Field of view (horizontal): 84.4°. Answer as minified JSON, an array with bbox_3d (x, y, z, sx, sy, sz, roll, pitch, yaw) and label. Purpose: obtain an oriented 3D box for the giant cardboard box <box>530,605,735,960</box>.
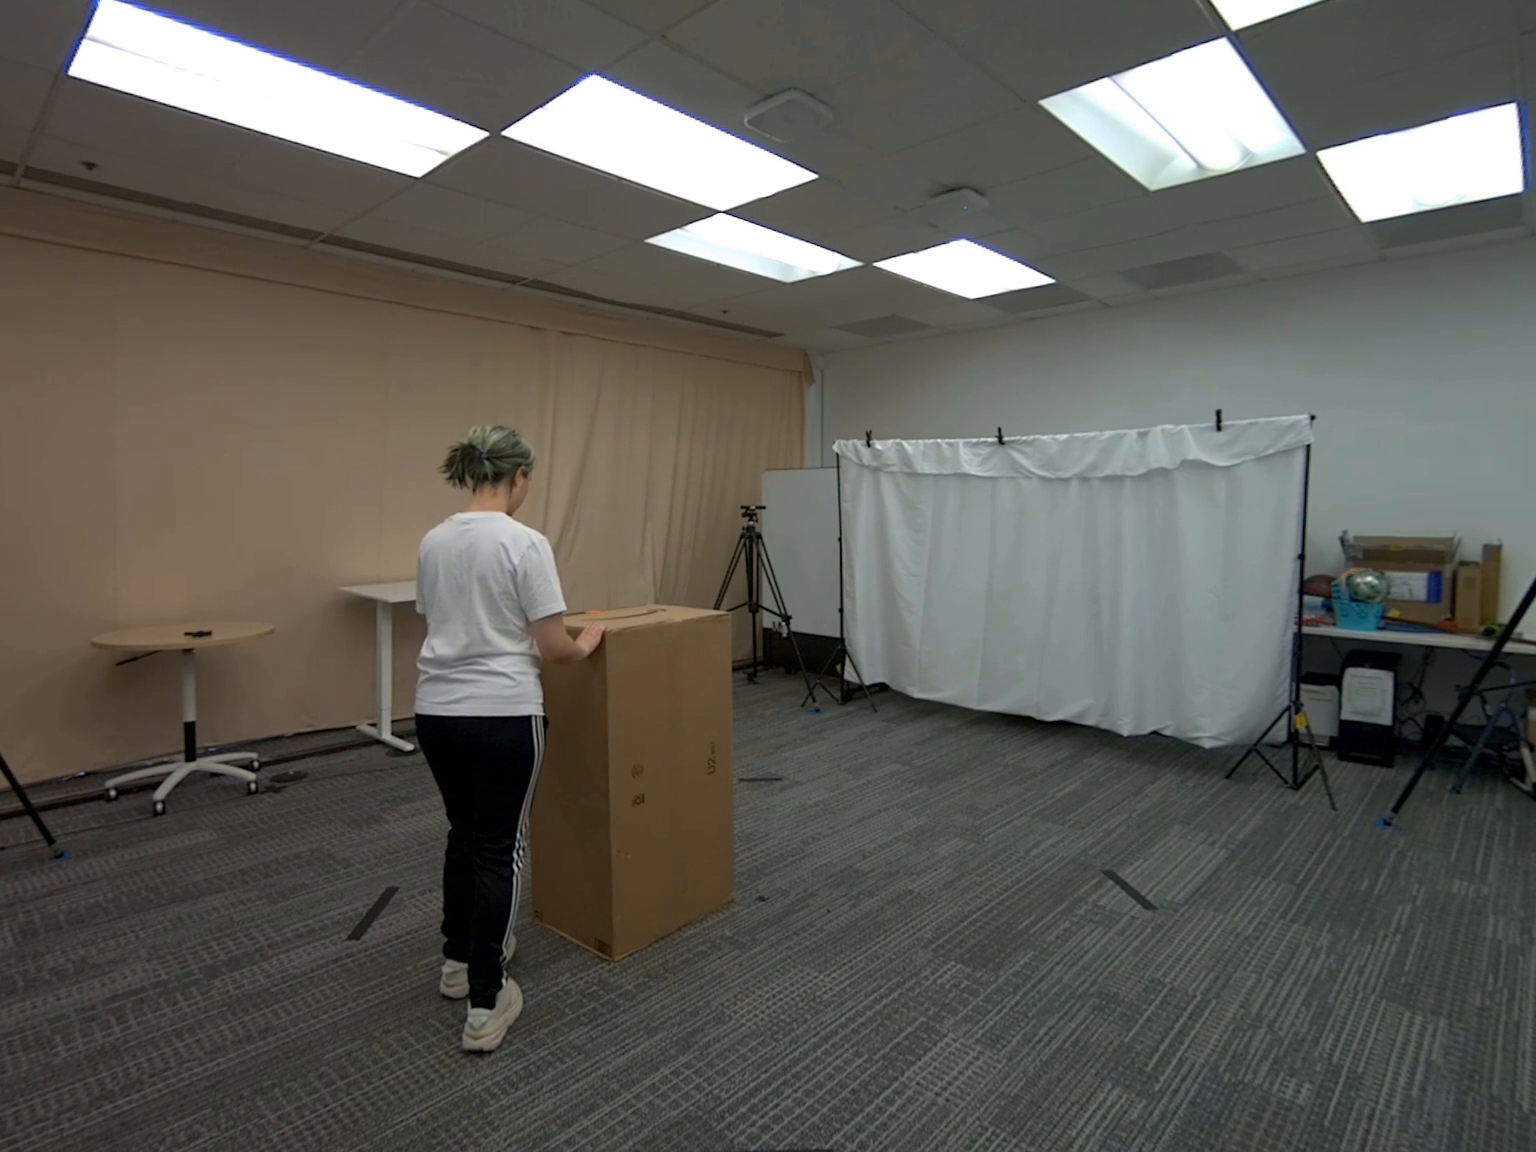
[{"bbox_3d":[-0.464,0.647,2.890,0.461,1.025,0.566,3,5,39],"label":"giant cardboard box"}]
